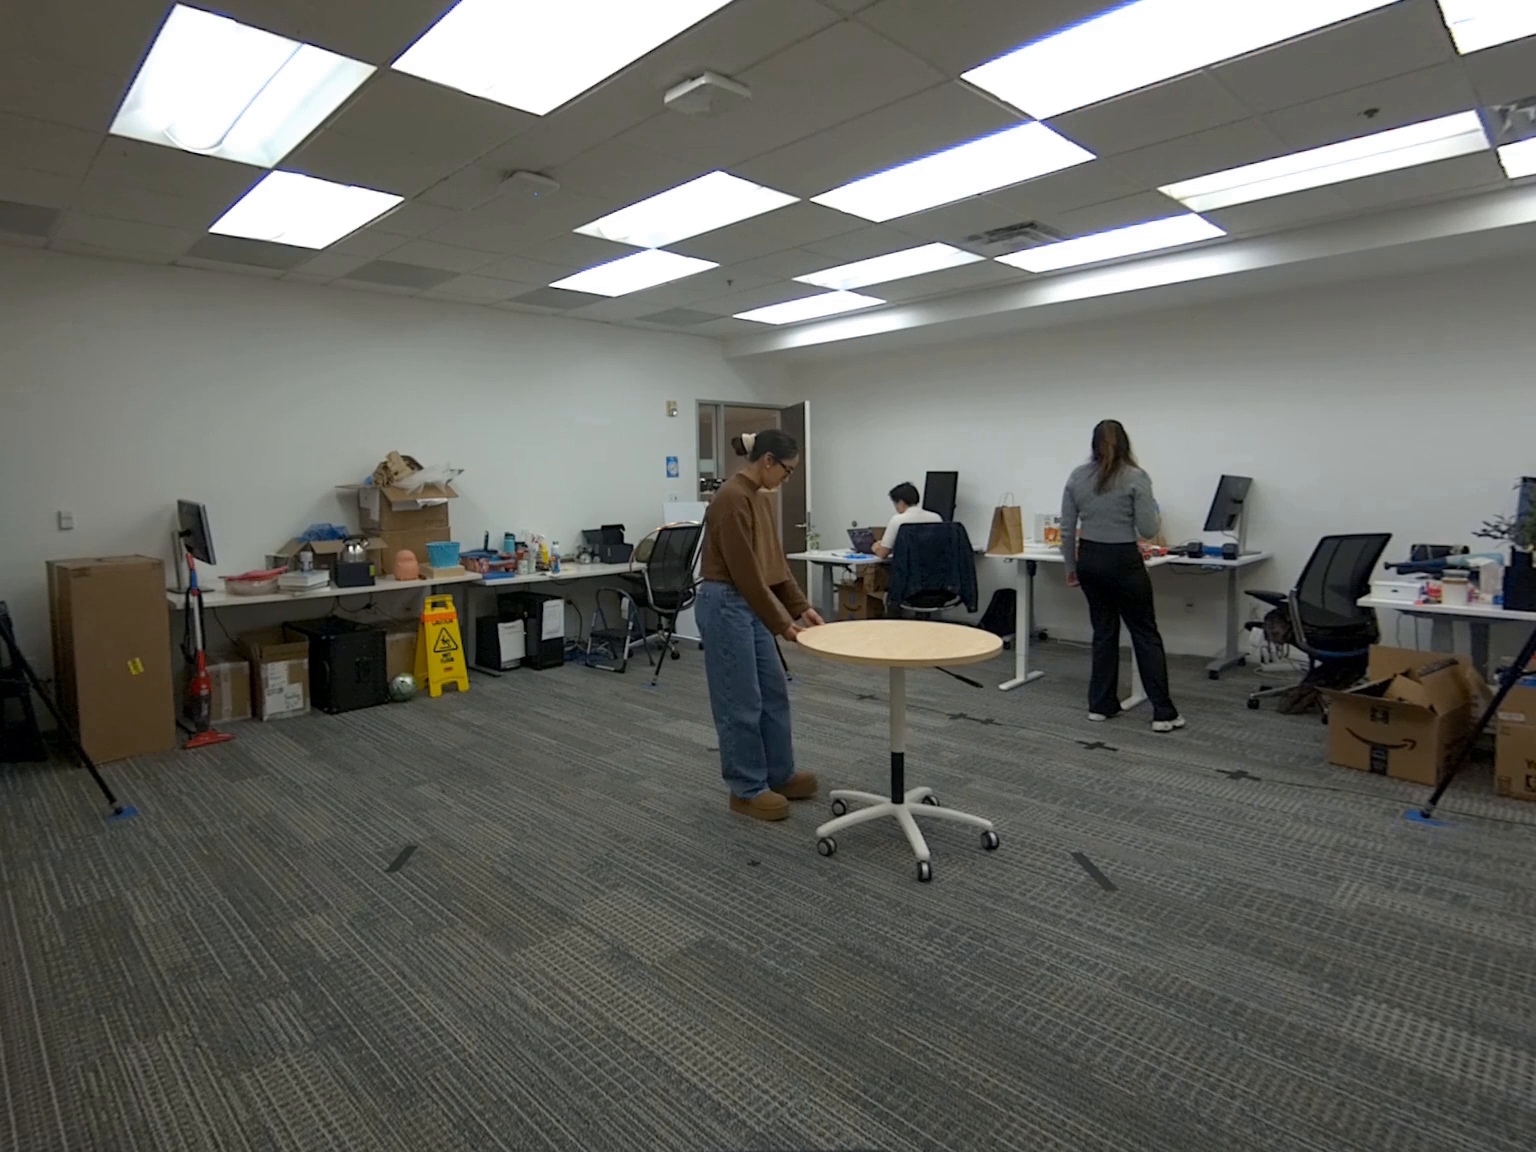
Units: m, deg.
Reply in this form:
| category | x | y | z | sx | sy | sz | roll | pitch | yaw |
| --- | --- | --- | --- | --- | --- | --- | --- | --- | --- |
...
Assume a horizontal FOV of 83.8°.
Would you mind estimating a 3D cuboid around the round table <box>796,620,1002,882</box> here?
| category | x | y | z | sx | sy | sz | roll | pitch | yaw |
| --- | --- | --- | --- | --- | --- | --- | --- | --- | --- |
| round table | 0.496 | 0.628 | 3.278 | 0.763 | 0.791 | 0.768 | -1 | 5 | -2 |
